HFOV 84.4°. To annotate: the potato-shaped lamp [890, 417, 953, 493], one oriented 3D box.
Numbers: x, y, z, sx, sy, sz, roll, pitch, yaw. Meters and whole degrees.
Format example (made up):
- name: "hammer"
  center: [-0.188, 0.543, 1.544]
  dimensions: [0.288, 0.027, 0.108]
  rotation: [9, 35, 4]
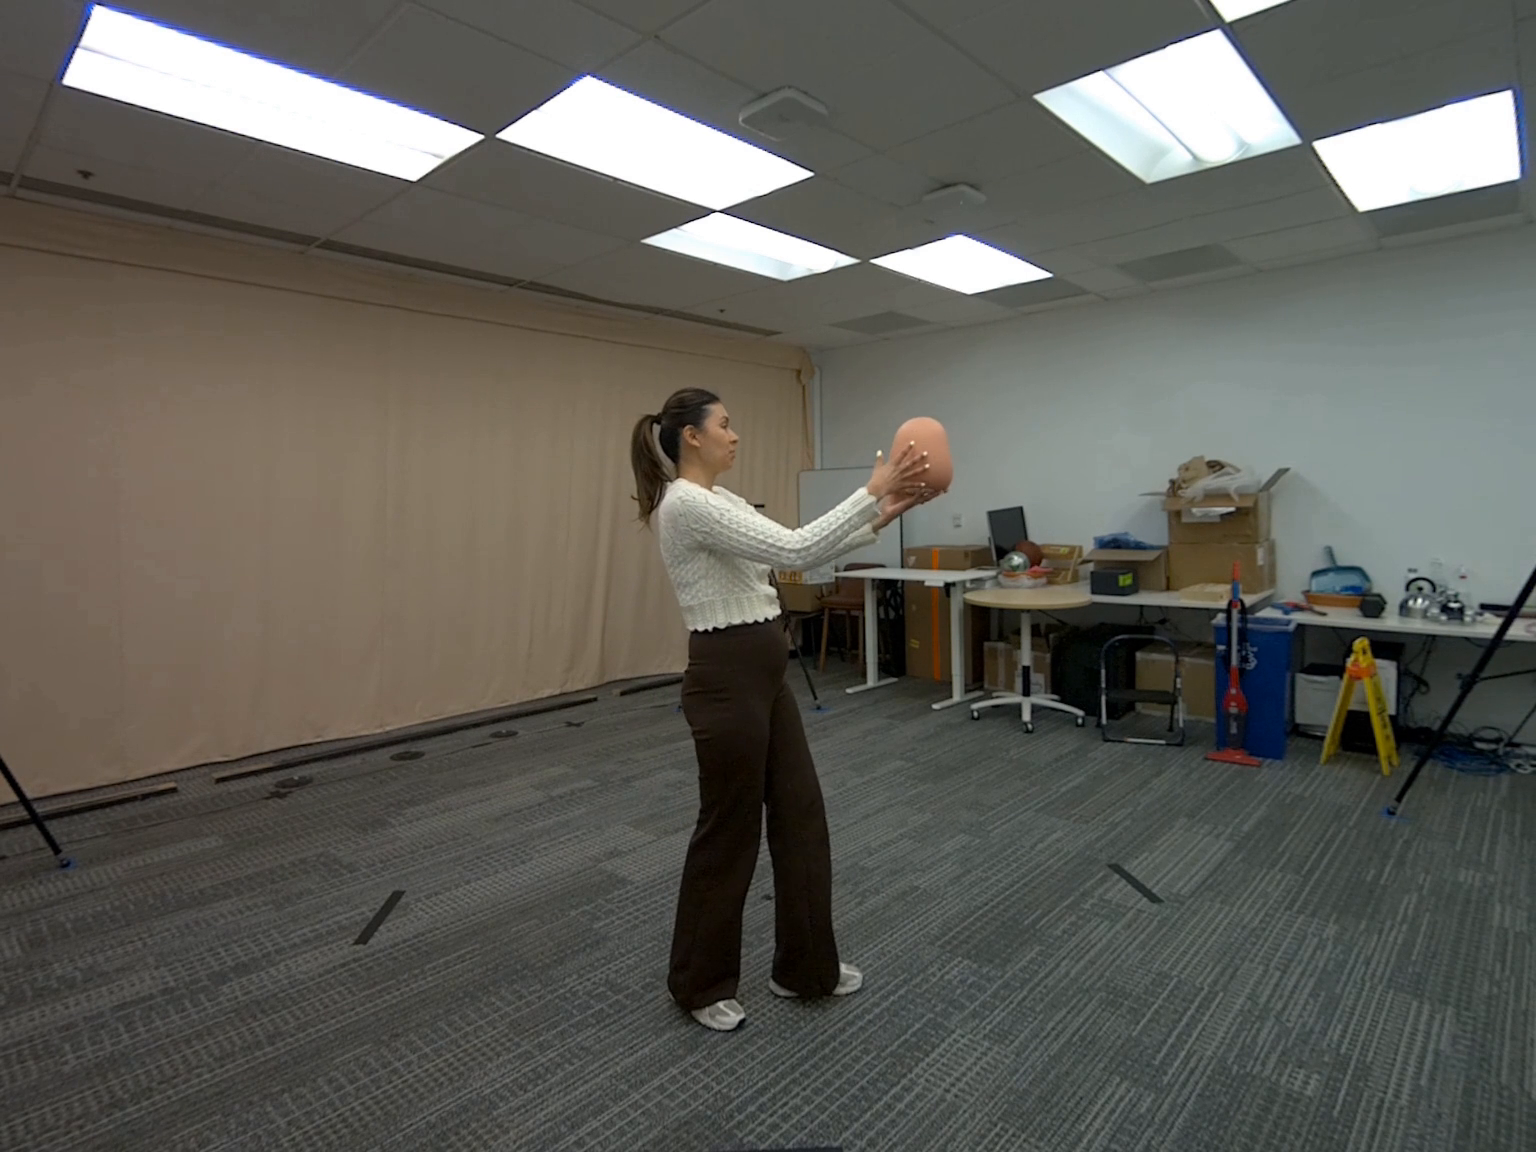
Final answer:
- name: "potato-shaped lamp"
  center: [0.411, -0.319, 2.224]
  dimensions: [0.170, 0.197, 0.167]
  rotation: [0, 10, 36]
